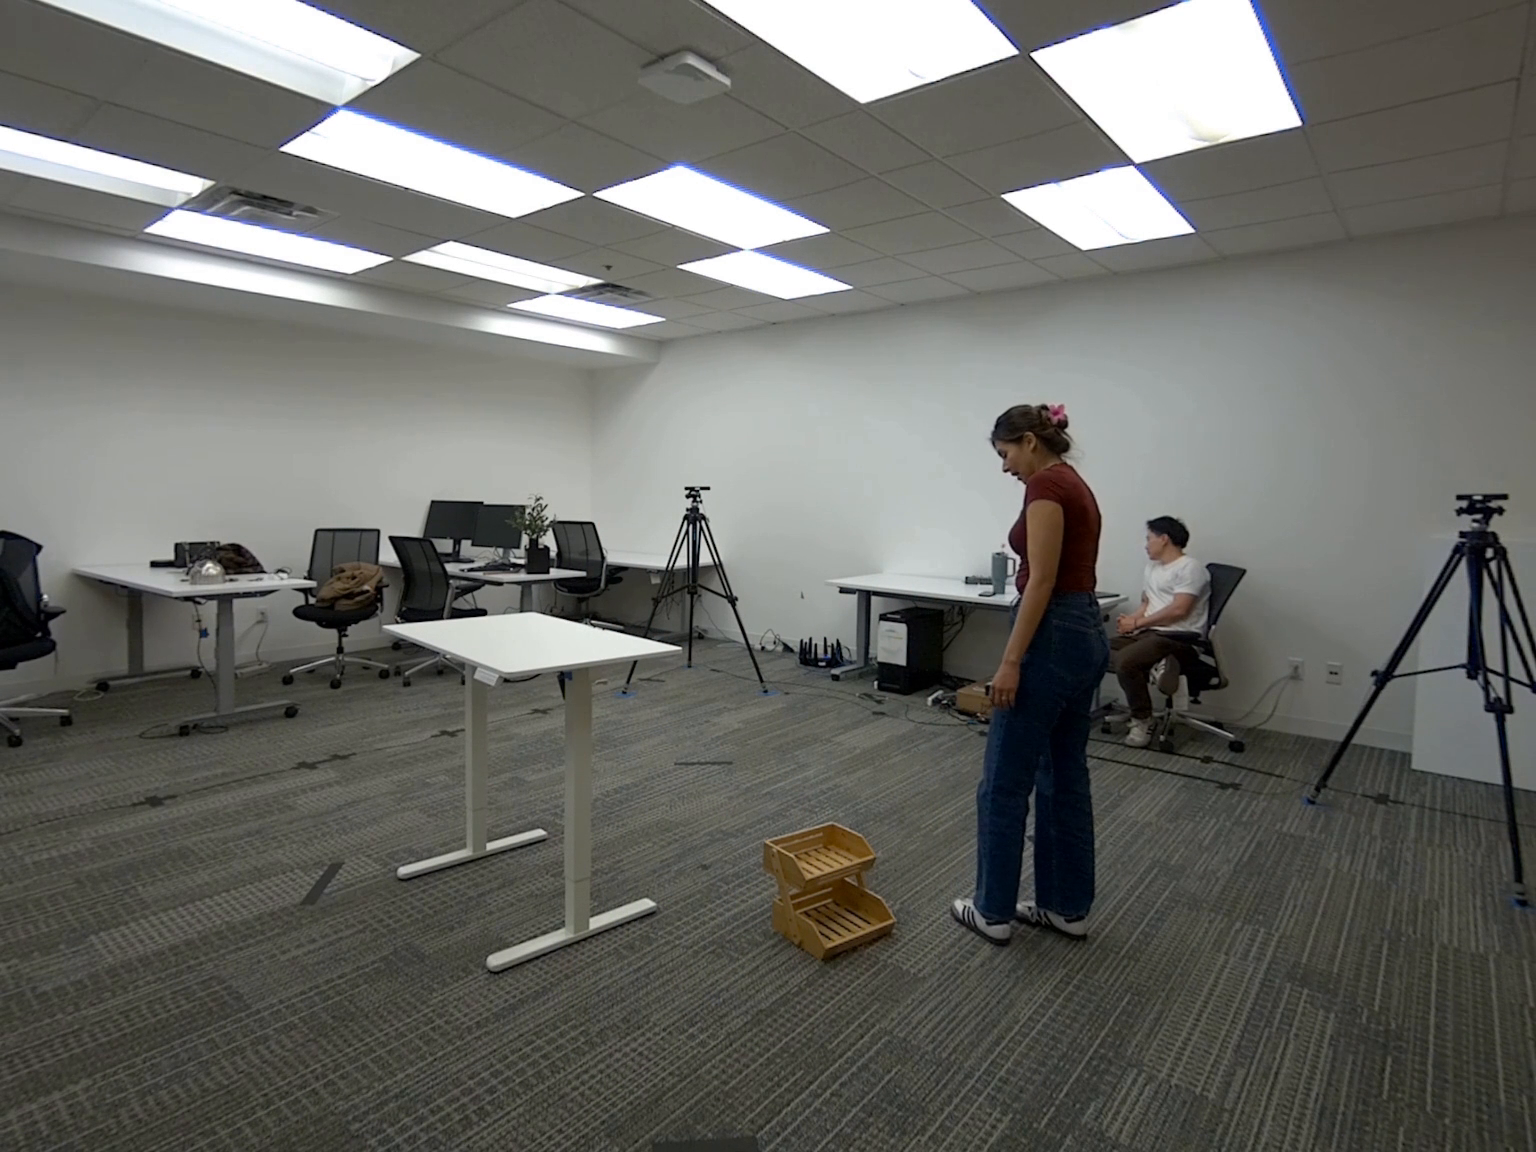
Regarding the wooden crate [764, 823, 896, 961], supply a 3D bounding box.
[{"bbox_3d":[0.189,0.980,2.694,0.315,0.272,0.312,-2,5,-37],"label":"wooden crate"}]
